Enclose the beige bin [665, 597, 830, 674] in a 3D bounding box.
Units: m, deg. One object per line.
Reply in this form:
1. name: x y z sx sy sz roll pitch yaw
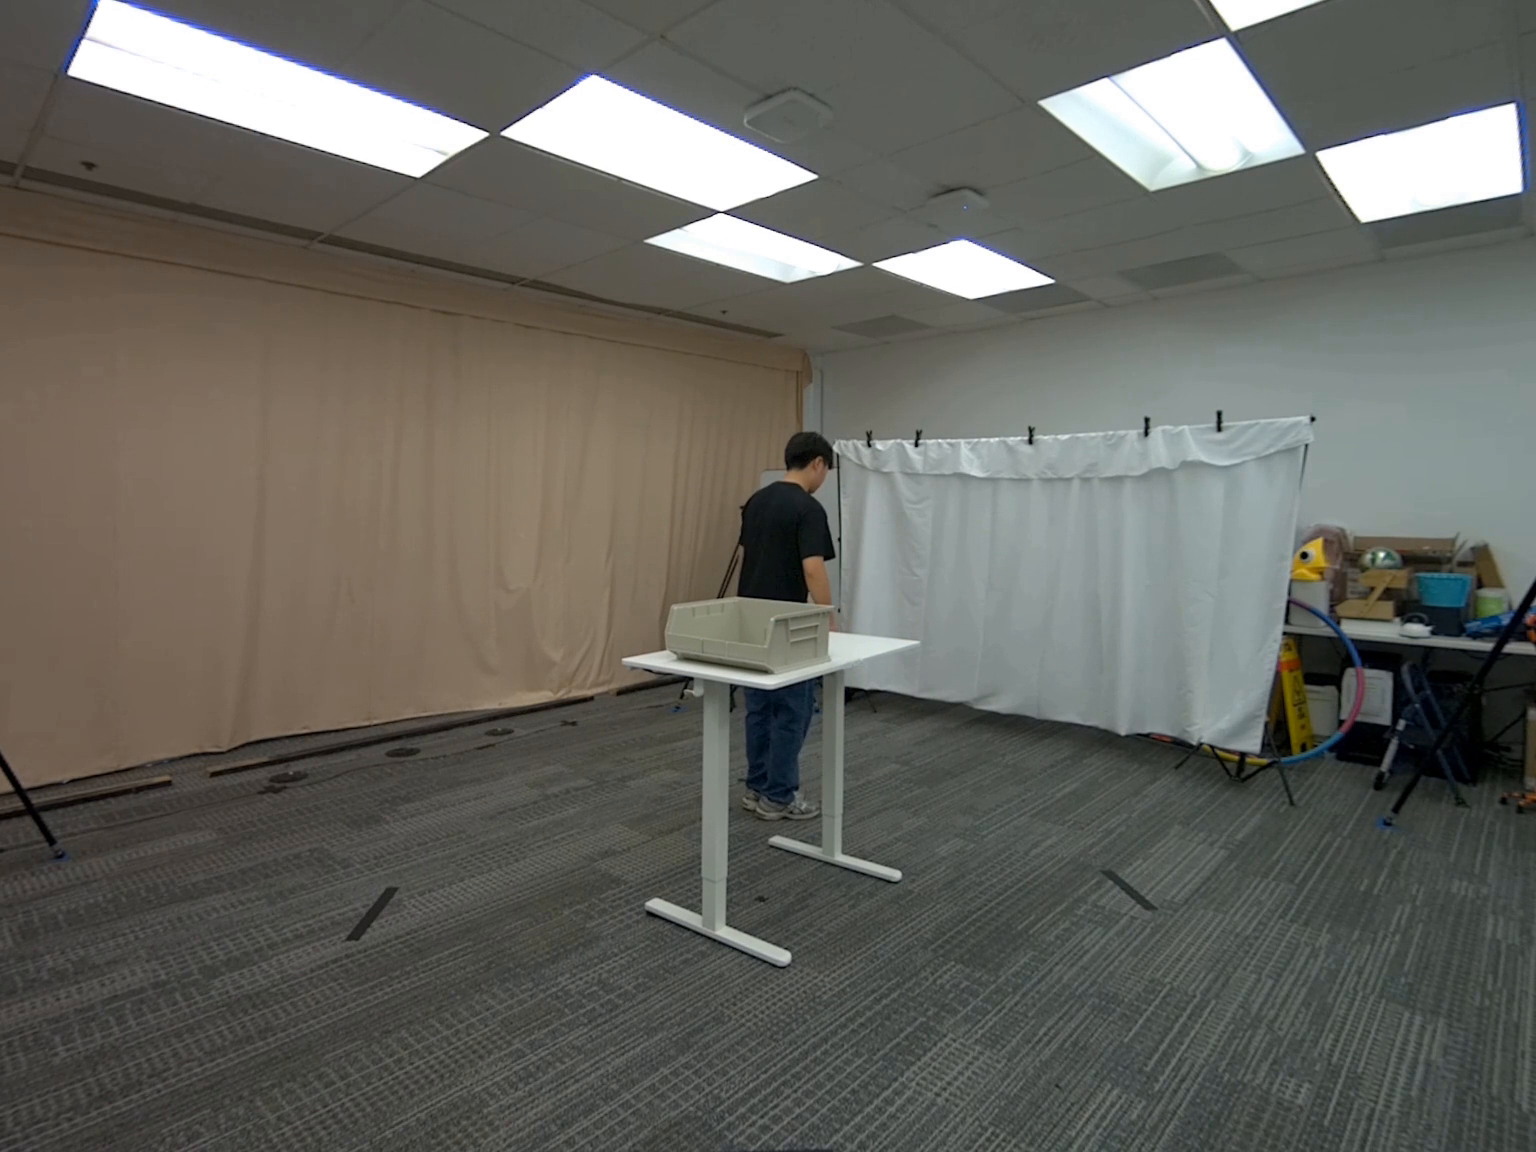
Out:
1. beige bin: -0.056 0.191 2.755 0.436 0.189 0.366 3 3 39
